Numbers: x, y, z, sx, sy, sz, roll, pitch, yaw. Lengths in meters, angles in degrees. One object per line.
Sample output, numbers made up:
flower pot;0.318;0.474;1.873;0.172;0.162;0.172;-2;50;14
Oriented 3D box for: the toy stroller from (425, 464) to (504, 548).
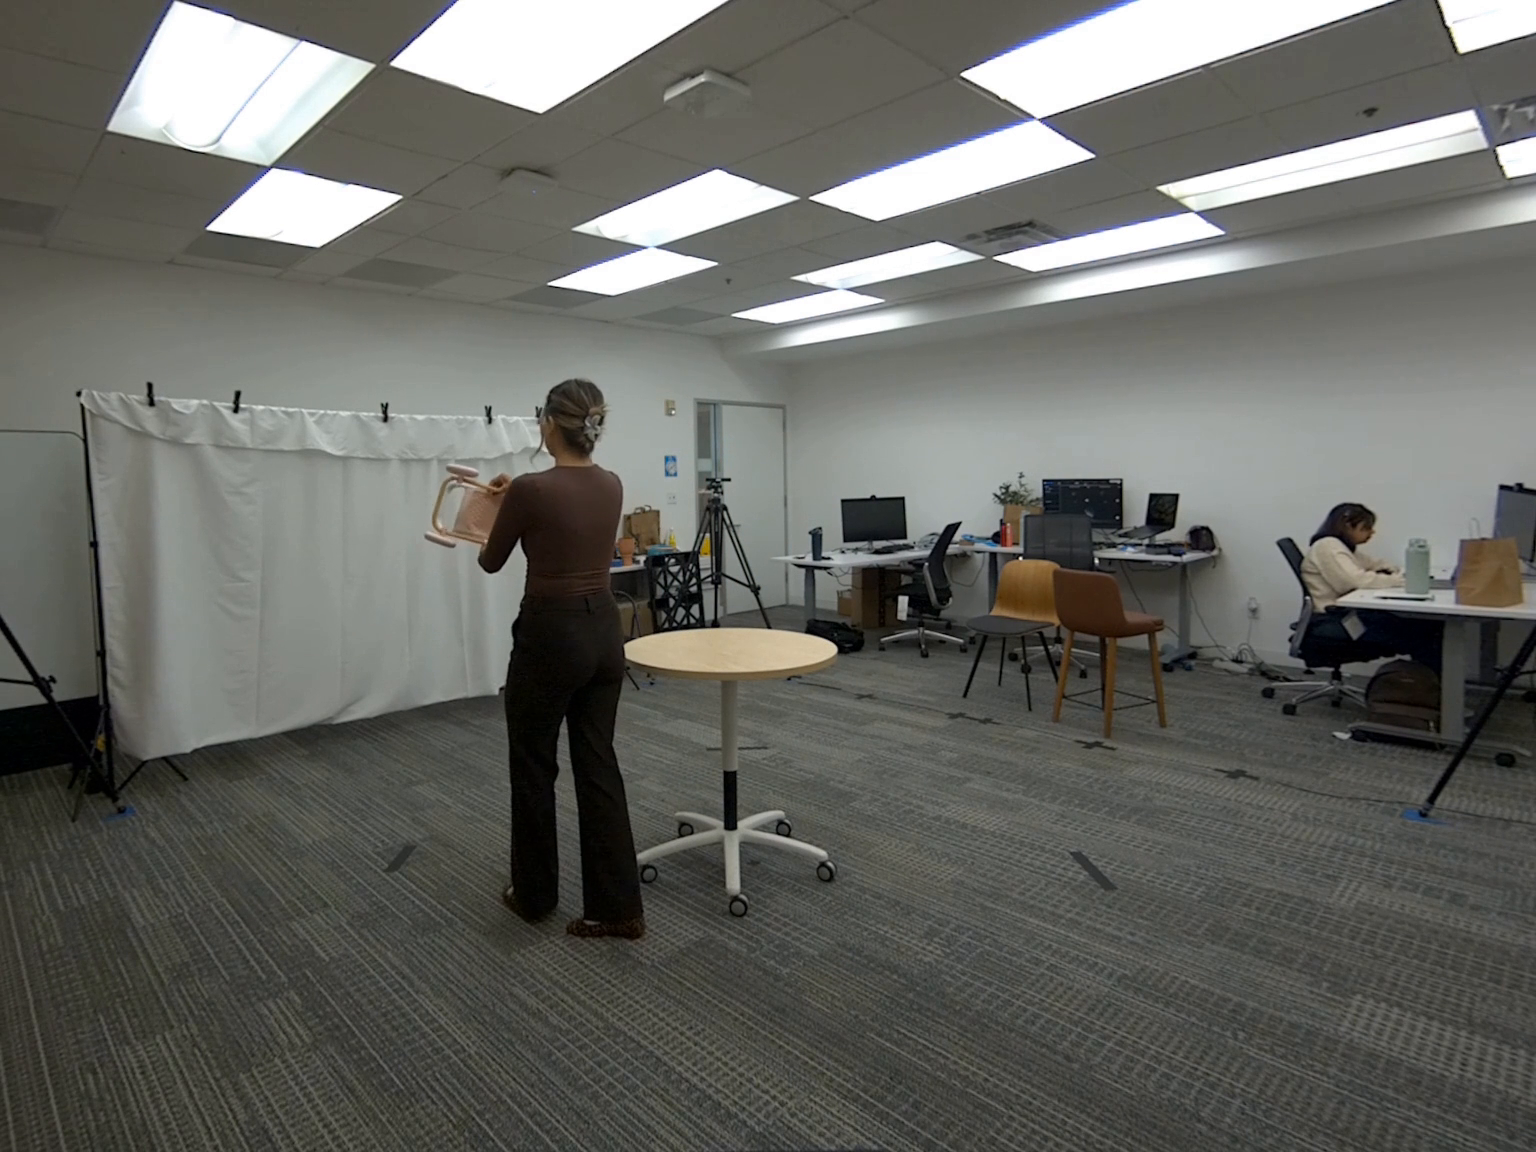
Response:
toy stroller;-1.028;-0.227;3.104;0.336;0.281;0.543;13;0;-16
